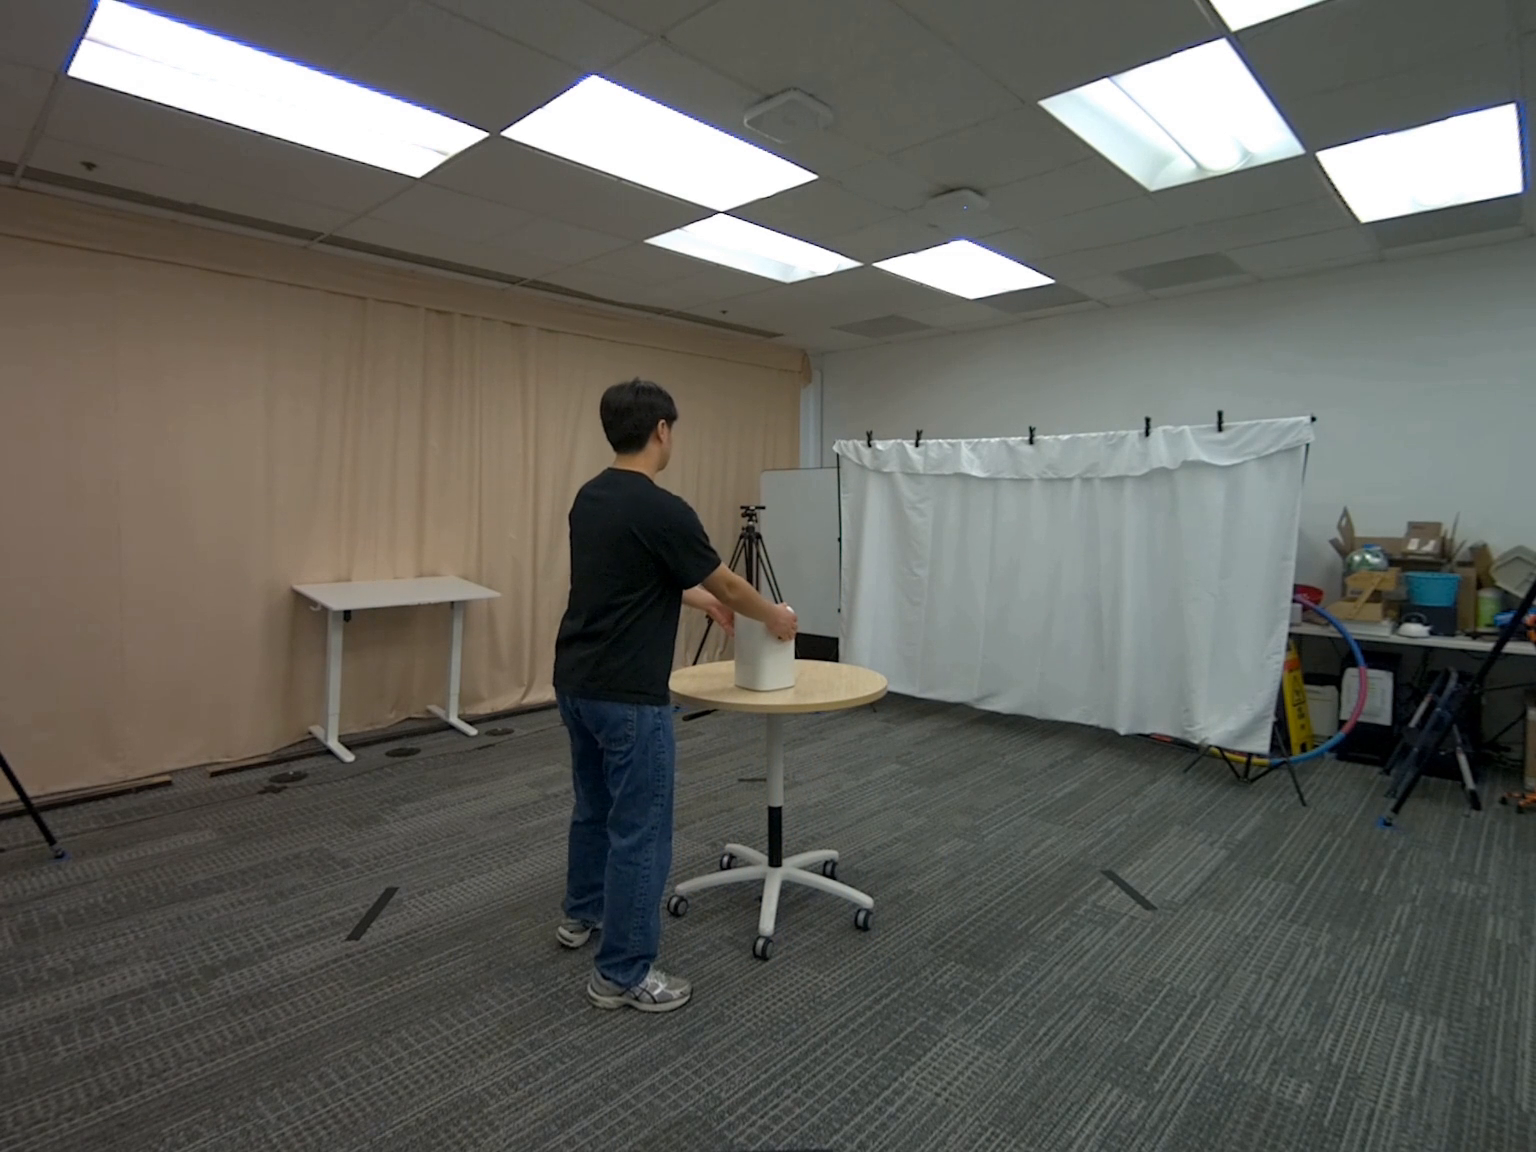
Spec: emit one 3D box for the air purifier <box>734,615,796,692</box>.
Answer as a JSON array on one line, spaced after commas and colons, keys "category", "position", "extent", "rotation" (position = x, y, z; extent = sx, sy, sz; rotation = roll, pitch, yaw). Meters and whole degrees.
[{"category": "air purifier", "position": [0.000, 0.230, 2.786], "extent": [0.166, 0.264, 0.177], "rotation": [-4, 5, -35]}]
